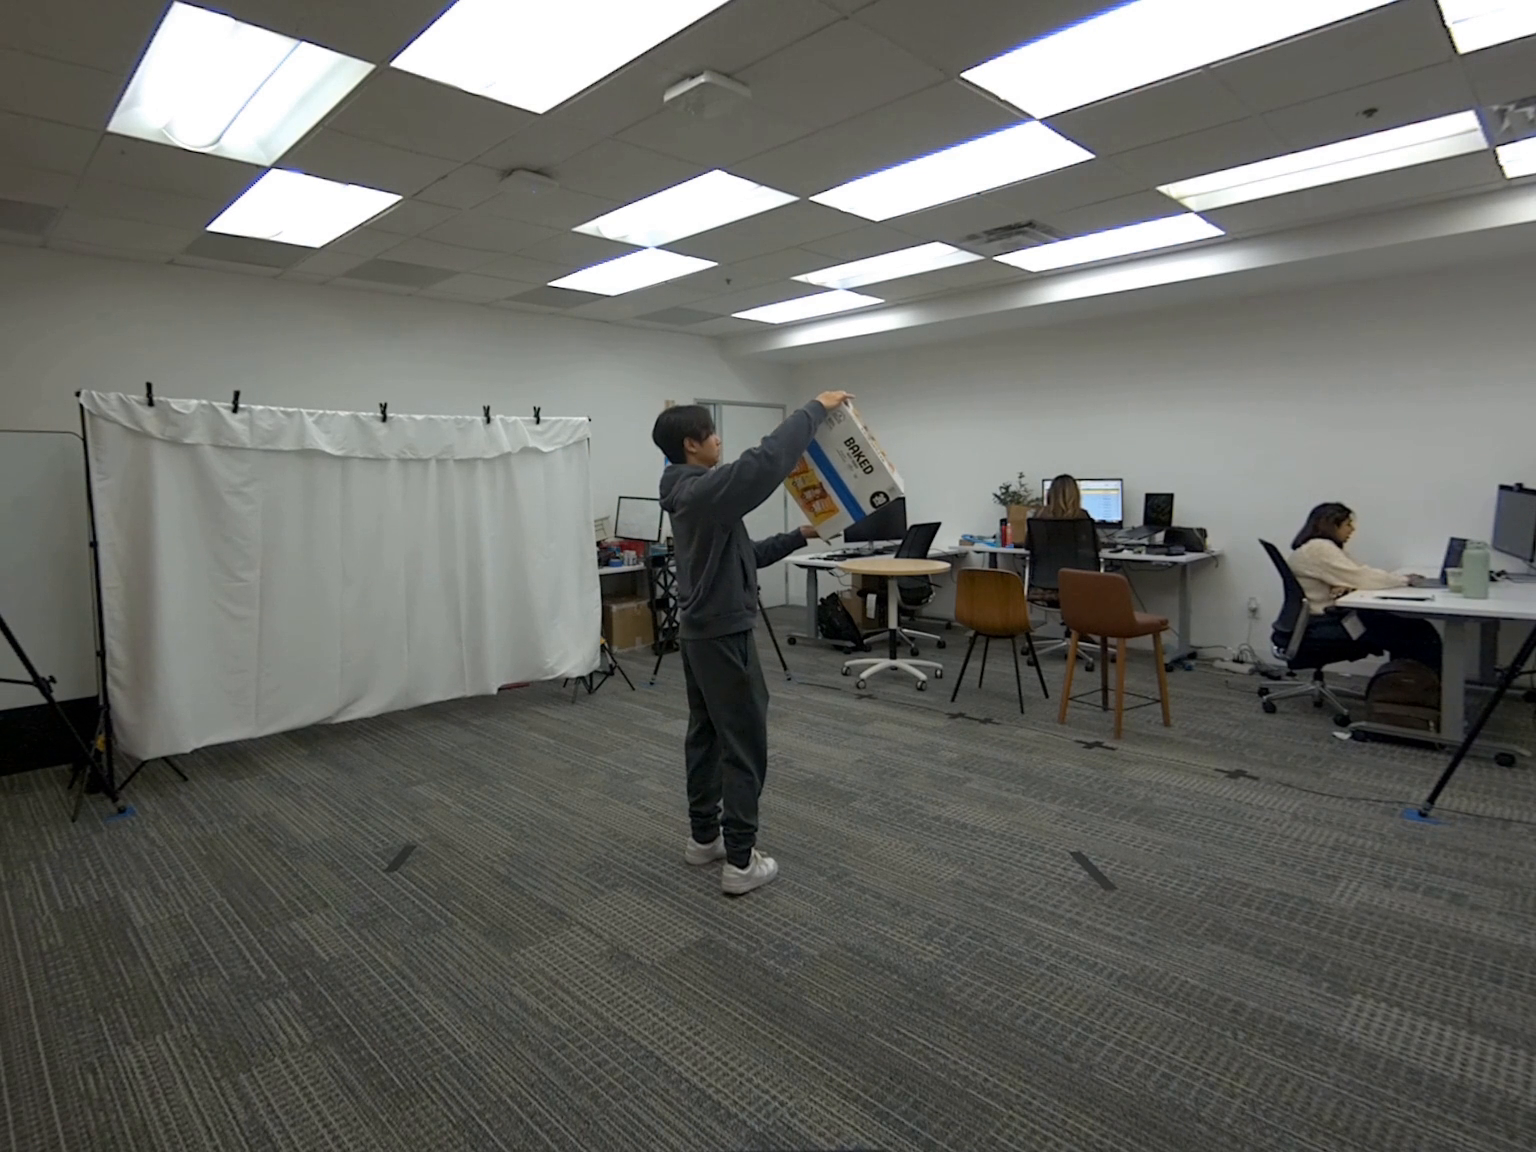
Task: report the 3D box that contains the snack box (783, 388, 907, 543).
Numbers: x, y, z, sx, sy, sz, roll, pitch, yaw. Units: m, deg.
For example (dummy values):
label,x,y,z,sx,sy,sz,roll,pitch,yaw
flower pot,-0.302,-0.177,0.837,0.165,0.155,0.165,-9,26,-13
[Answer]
label,x,y,z,sx,sy,sz,roll,pitch,yaw
snack box,0.244,-0.407,3.138,0.342,0.401,0.207,-33,9,21
